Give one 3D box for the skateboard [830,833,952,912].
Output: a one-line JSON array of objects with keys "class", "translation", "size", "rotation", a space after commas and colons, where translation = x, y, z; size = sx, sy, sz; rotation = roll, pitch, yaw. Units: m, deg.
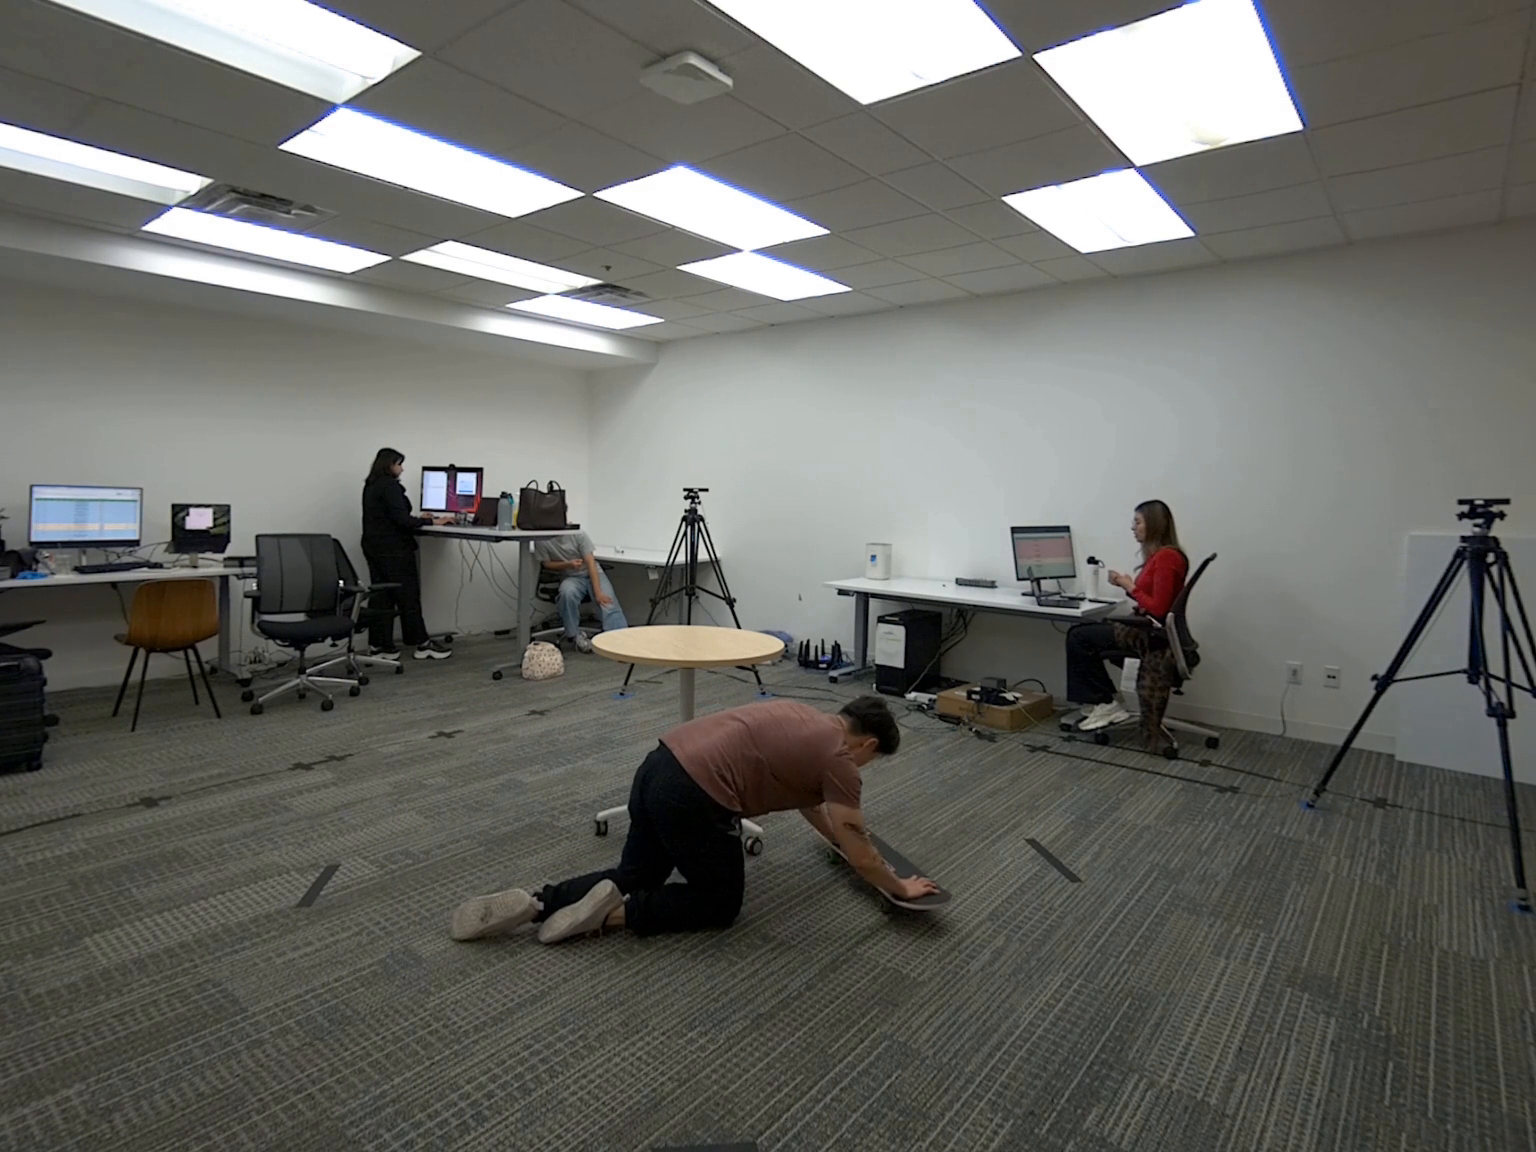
[{"class": "skateboard", "translation": [0.350, 1.026, 3.022], "size": [0.190, 0.110, 0.802], "rotation": [-2, 6, -18]}]
